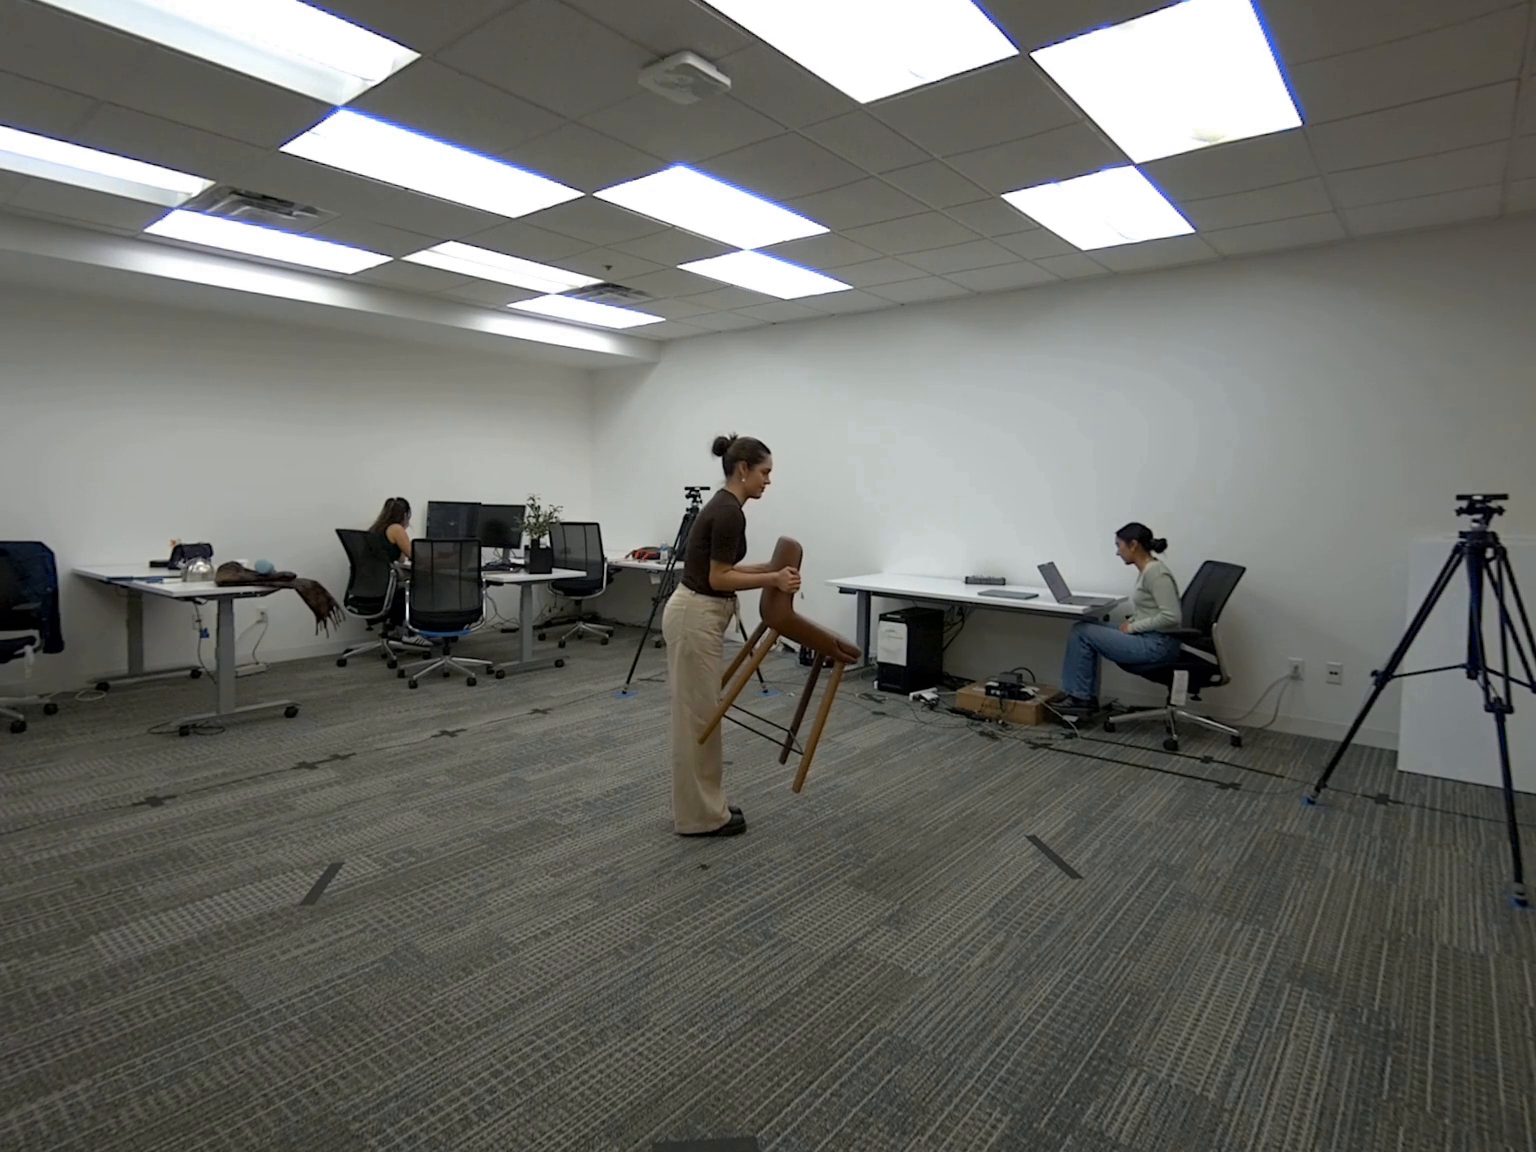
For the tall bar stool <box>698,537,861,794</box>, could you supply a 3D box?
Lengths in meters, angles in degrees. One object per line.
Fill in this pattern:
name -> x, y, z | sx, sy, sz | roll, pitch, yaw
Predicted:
tall bar stool -> 0.087, 0.345, 3.479 | 0.464, 0.890, 0.460 | 24, -1, -7
